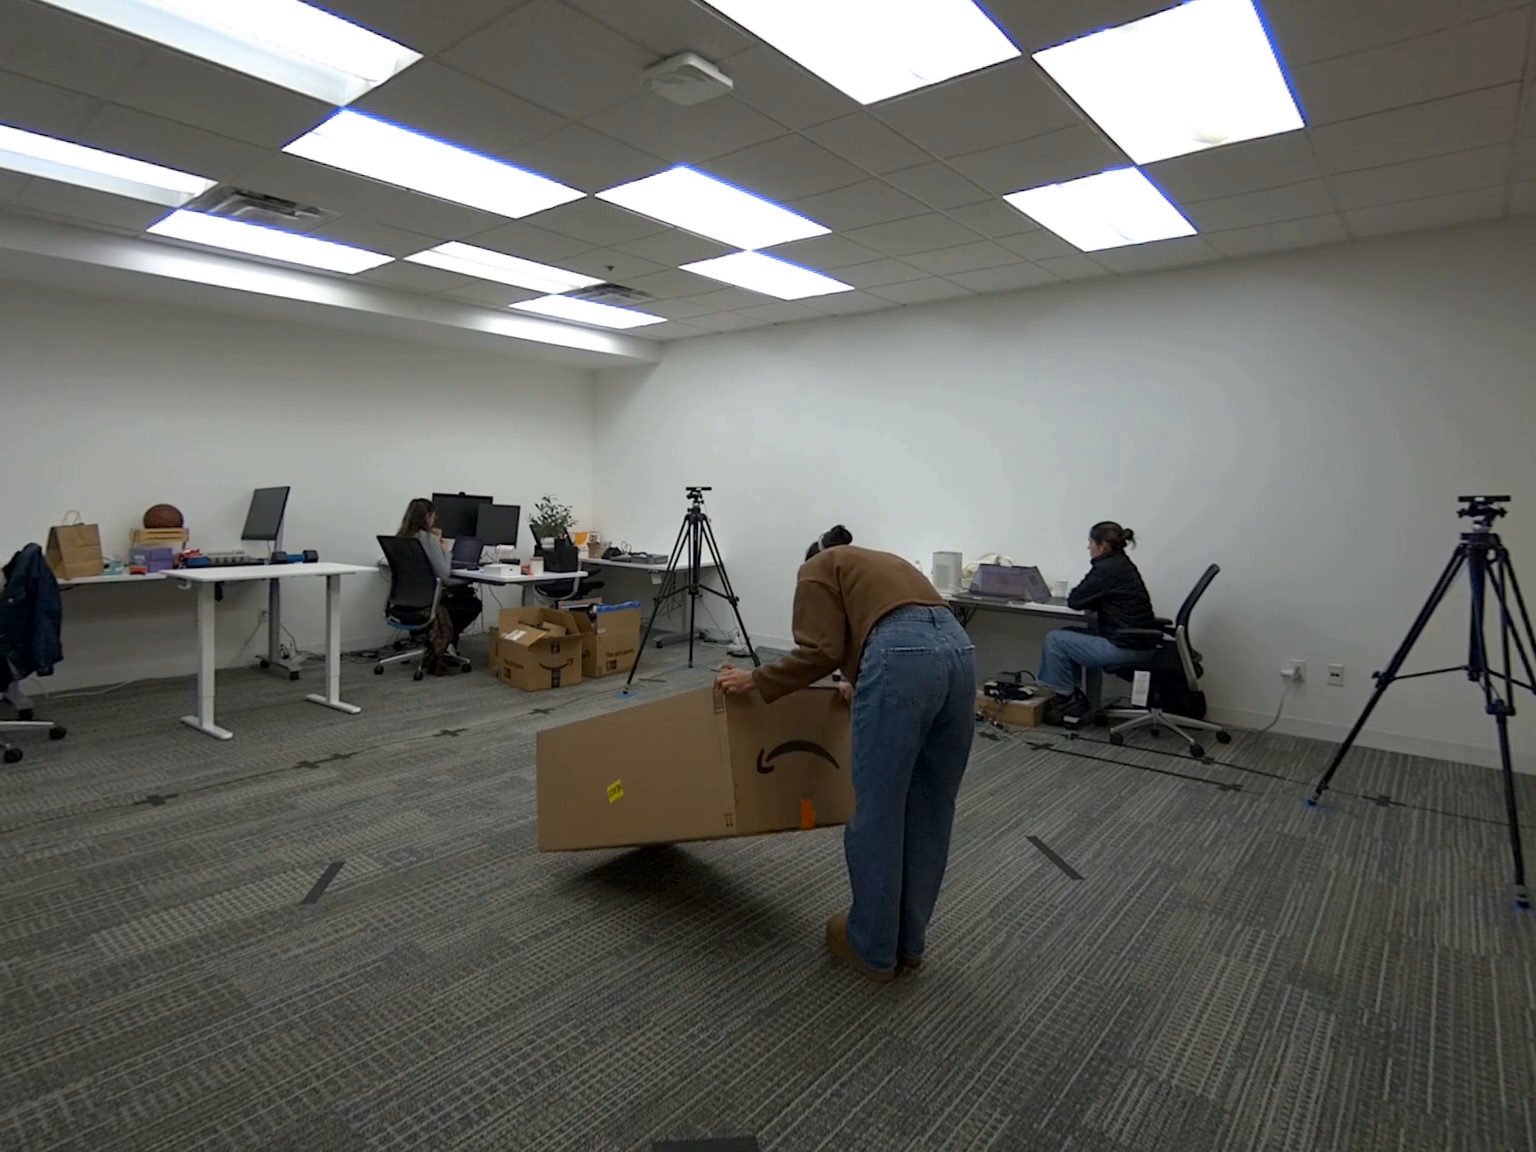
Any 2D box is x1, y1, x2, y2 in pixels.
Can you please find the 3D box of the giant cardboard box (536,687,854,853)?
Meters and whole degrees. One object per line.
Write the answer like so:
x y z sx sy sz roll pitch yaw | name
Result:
-0.287 0.672 2.915 0.563 0.455 1.045 11 -24 -44 | giant cardboard box
